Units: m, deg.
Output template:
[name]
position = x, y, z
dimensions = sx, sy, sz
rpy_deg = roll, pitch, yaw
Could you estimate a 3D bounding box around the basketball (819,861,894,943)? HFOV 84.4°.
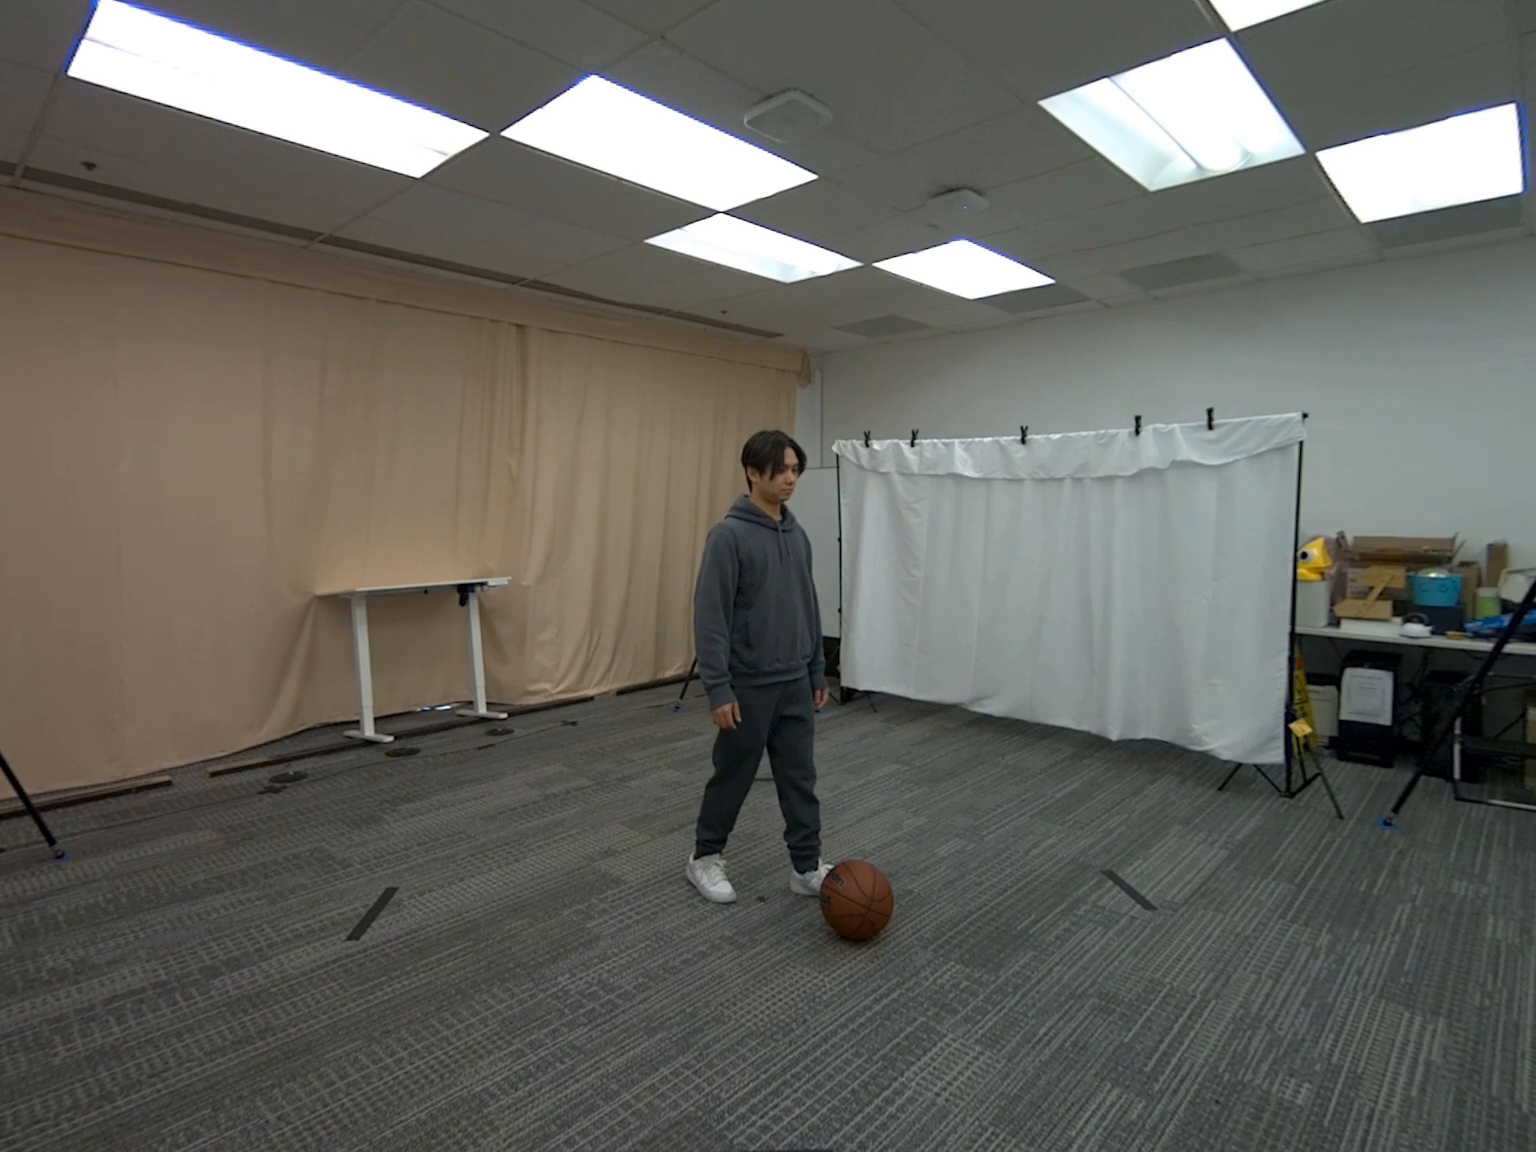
[basketball]
position = 0.292, 1.044, 2.725
dimensions = 0.236, 0.235, 0.237
rpy_deg = 0, 4, -2
